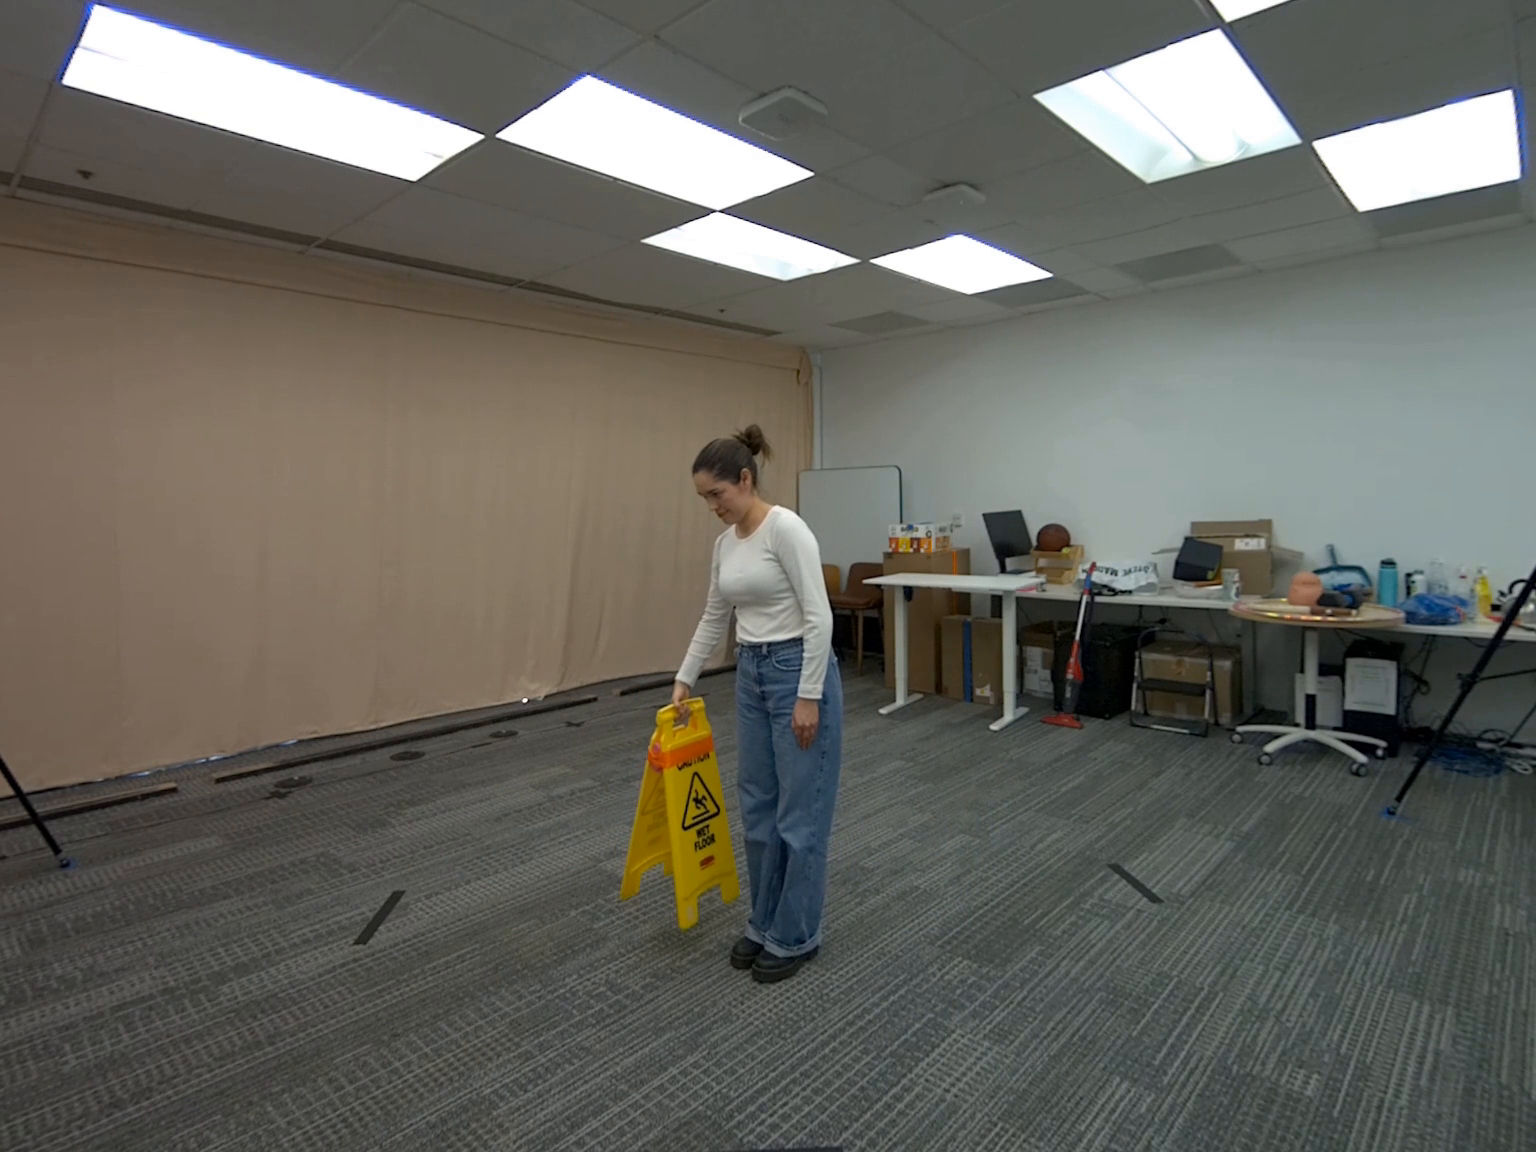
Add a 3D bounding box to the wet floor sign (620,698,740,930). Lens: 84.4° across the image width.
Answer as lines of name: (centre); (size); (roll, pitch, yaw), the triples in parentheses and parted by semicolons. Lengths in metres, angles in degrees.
wet floor sign: (-0.279, 0.726, 2.688); (0.299, 0.644, 0.274); (5, 7, 39)
